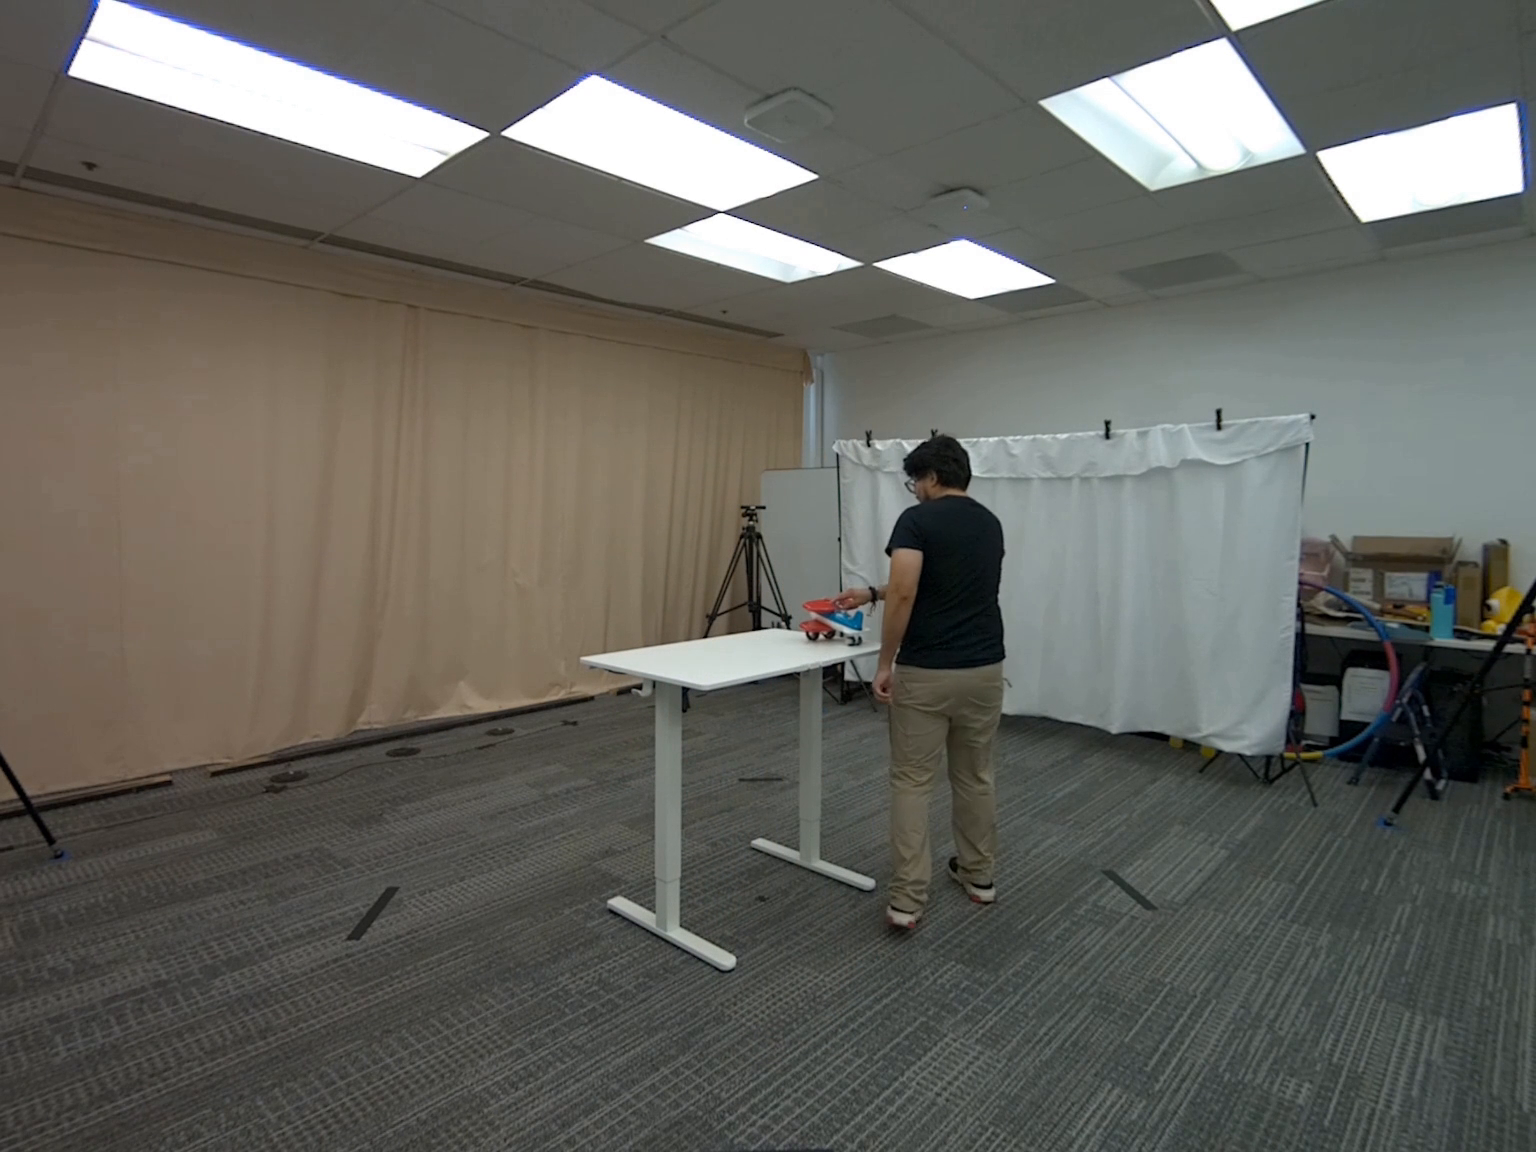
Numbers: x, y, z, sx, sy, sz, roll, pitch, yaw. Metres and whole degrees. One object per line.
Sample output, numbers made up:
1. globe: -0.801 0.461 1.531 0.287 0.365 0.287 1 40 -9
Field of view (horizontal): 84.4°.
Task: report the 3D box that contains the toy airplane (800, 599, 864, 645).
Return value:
1. toy airplane: 0.276 0.172 3.162 0.265 0.156 0.246 1 5 24
